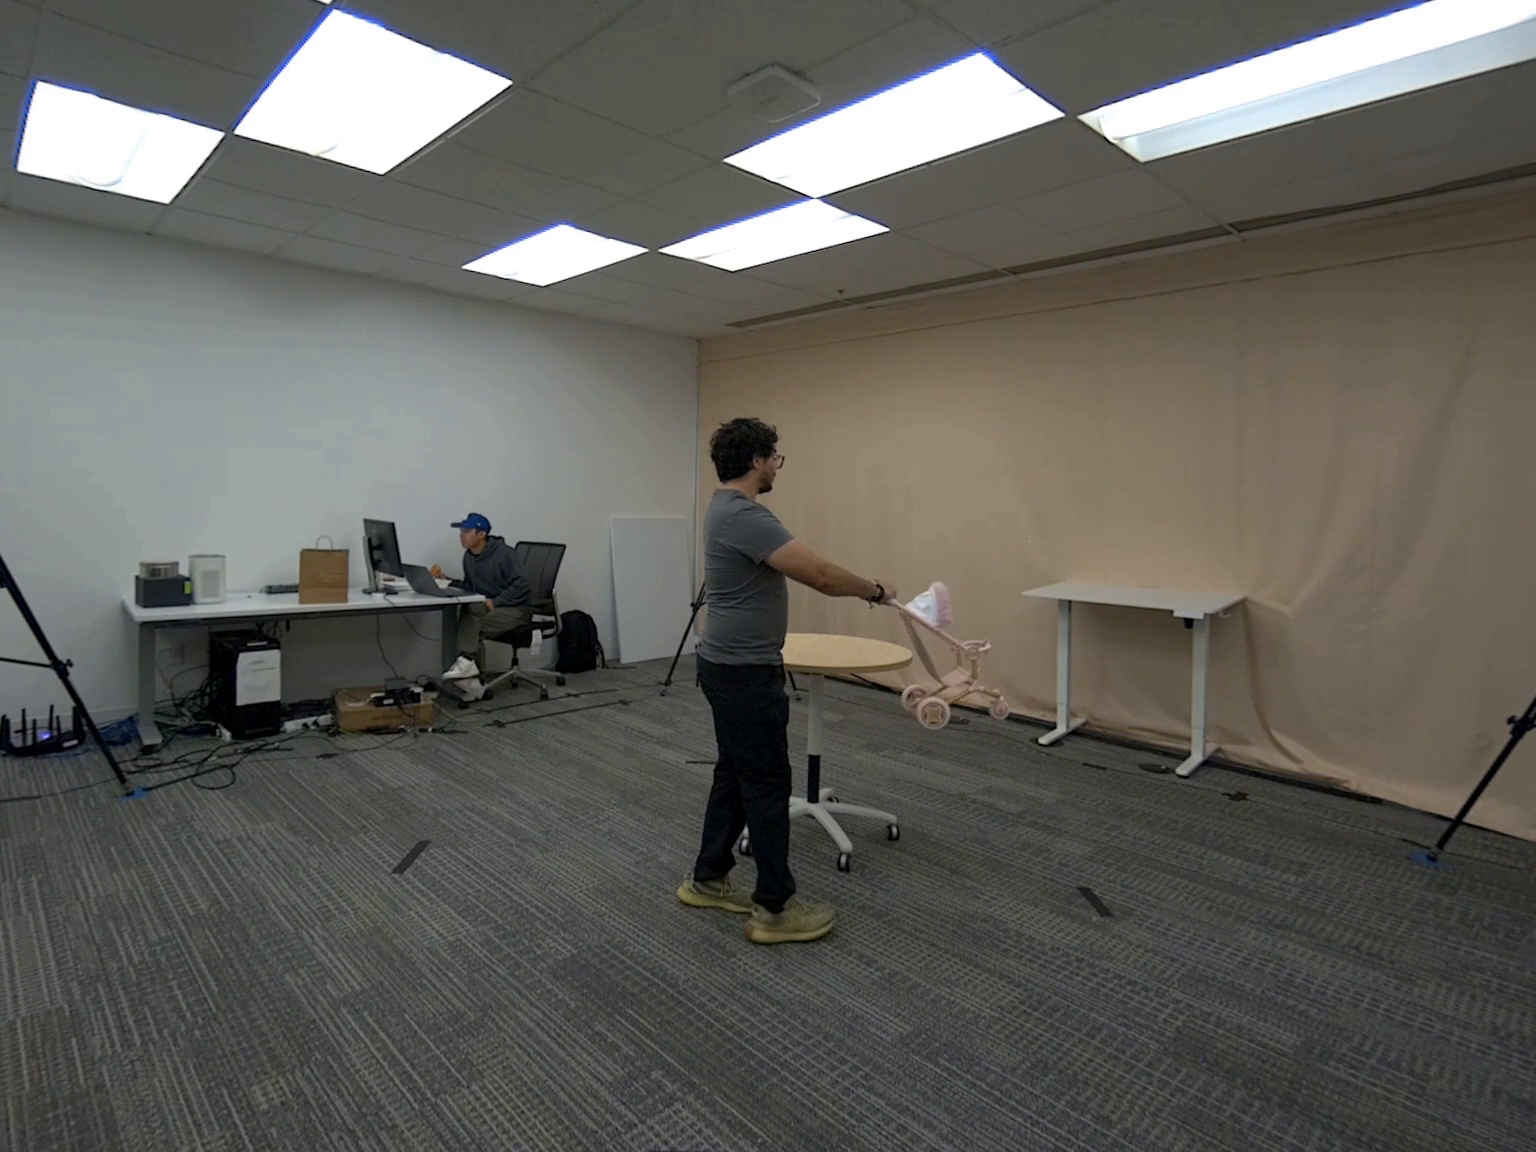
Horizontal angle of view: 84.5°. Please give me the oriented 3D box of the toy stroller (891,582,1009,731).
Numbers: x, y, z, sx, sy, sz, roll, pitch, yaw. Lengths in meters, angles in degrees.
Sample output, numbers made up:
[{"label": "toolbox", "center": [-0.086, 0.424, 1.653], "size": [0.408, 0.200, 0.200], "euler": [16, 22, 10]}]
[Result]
[{"label": "toy stroller", "center": [0.587, 0.260, 2.847], "size": [0.342, 0.535, 0.281], "euler": [-15, 0, 3]}]
